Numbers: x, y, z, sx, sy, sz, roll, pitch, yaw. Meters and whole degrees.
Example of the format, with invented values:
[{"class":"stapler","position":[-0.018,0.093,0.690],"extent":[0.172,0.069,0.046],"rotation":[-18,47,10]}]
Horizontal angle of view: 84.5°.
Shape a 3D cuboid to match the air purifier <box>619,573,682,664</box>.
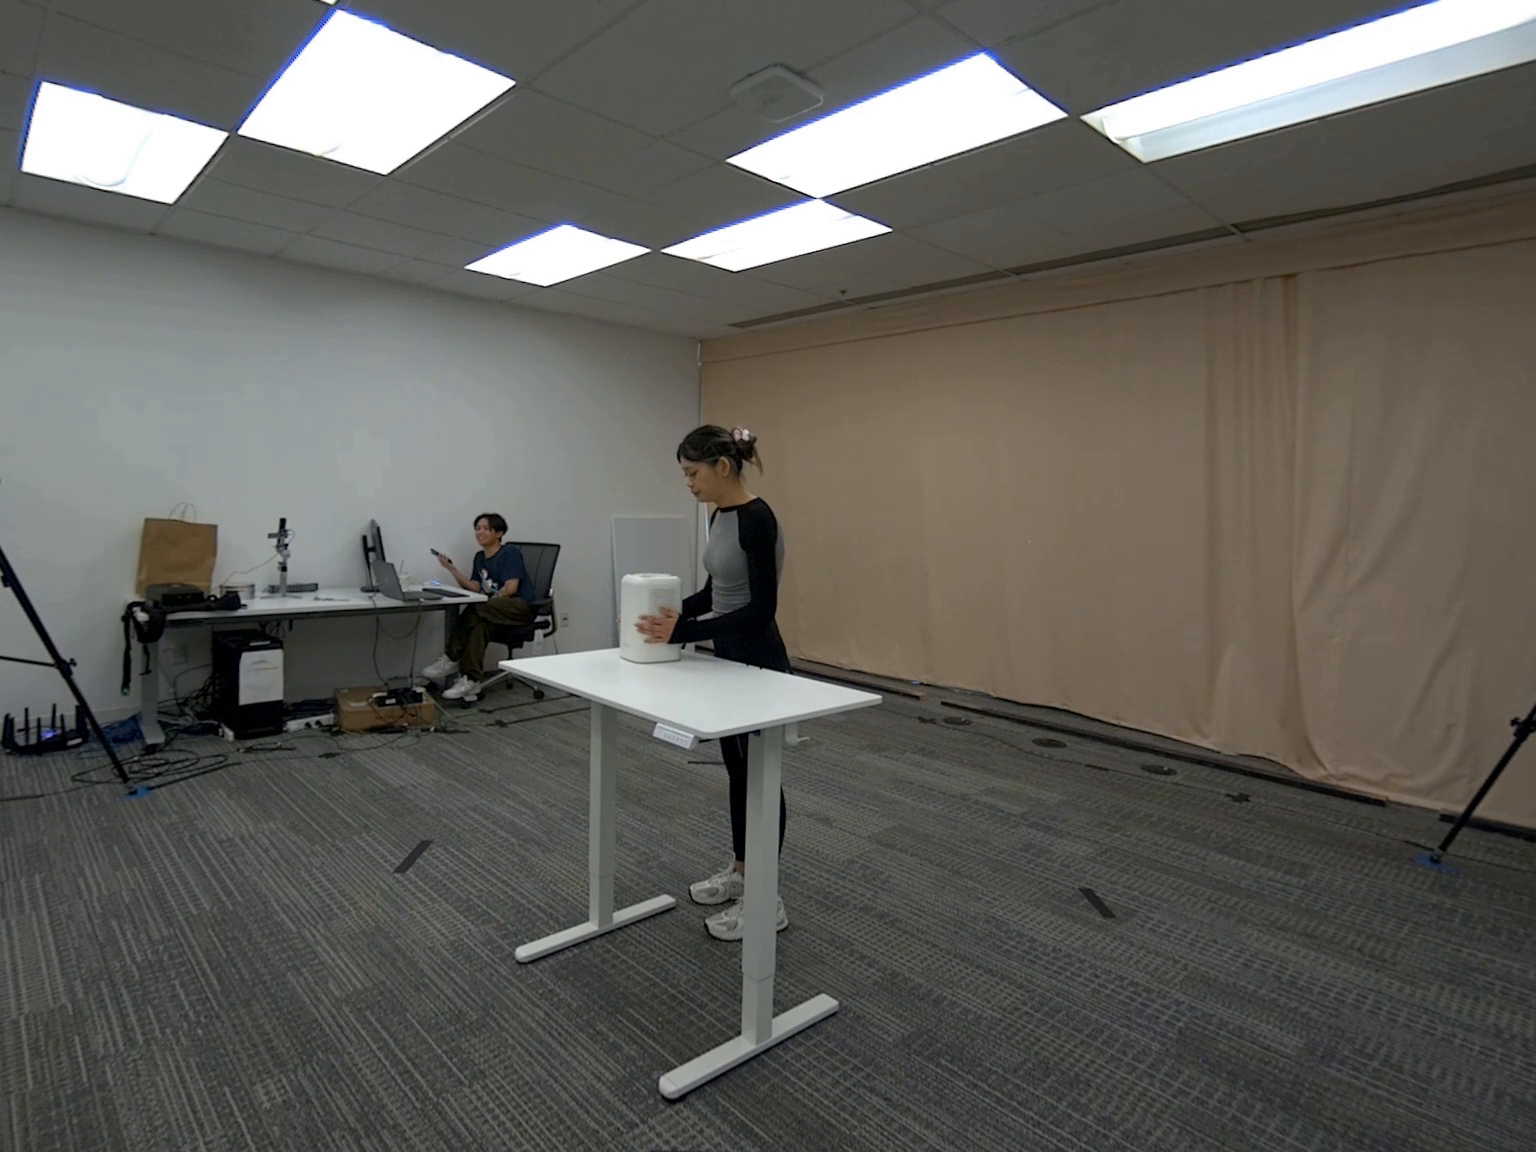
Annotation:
[{"class":"air purifier","position":[-0.372,0.131,2.665],"extent":[0.168,0.265,0.175],"rotation":[1,1,-31]}]
